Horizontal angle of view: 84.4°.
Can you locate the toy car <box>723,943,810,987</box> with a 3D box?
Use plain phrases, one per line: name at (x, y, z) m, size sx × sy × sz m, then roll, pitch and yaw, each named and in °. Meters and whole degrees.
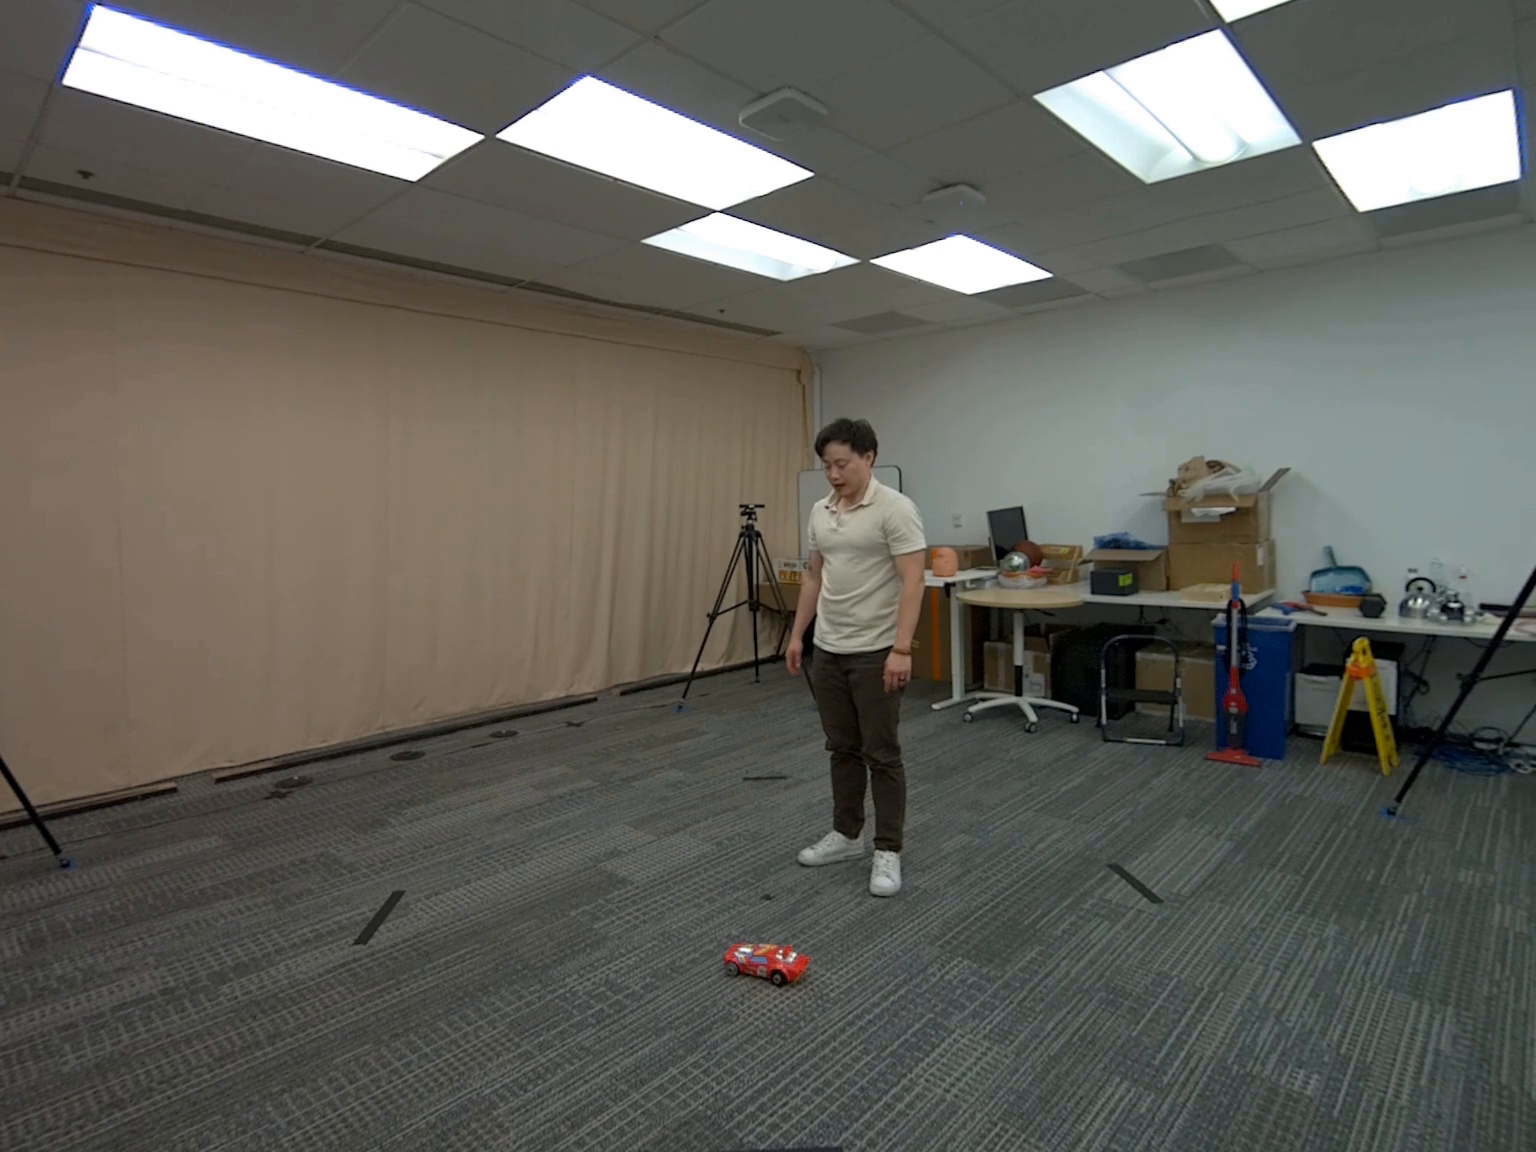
toy car at (0.006, 1.150, 2.496) m, size 0.260 × 0.083 × 0.127 m, roll -11°, pitch 0°, yaw 23°
